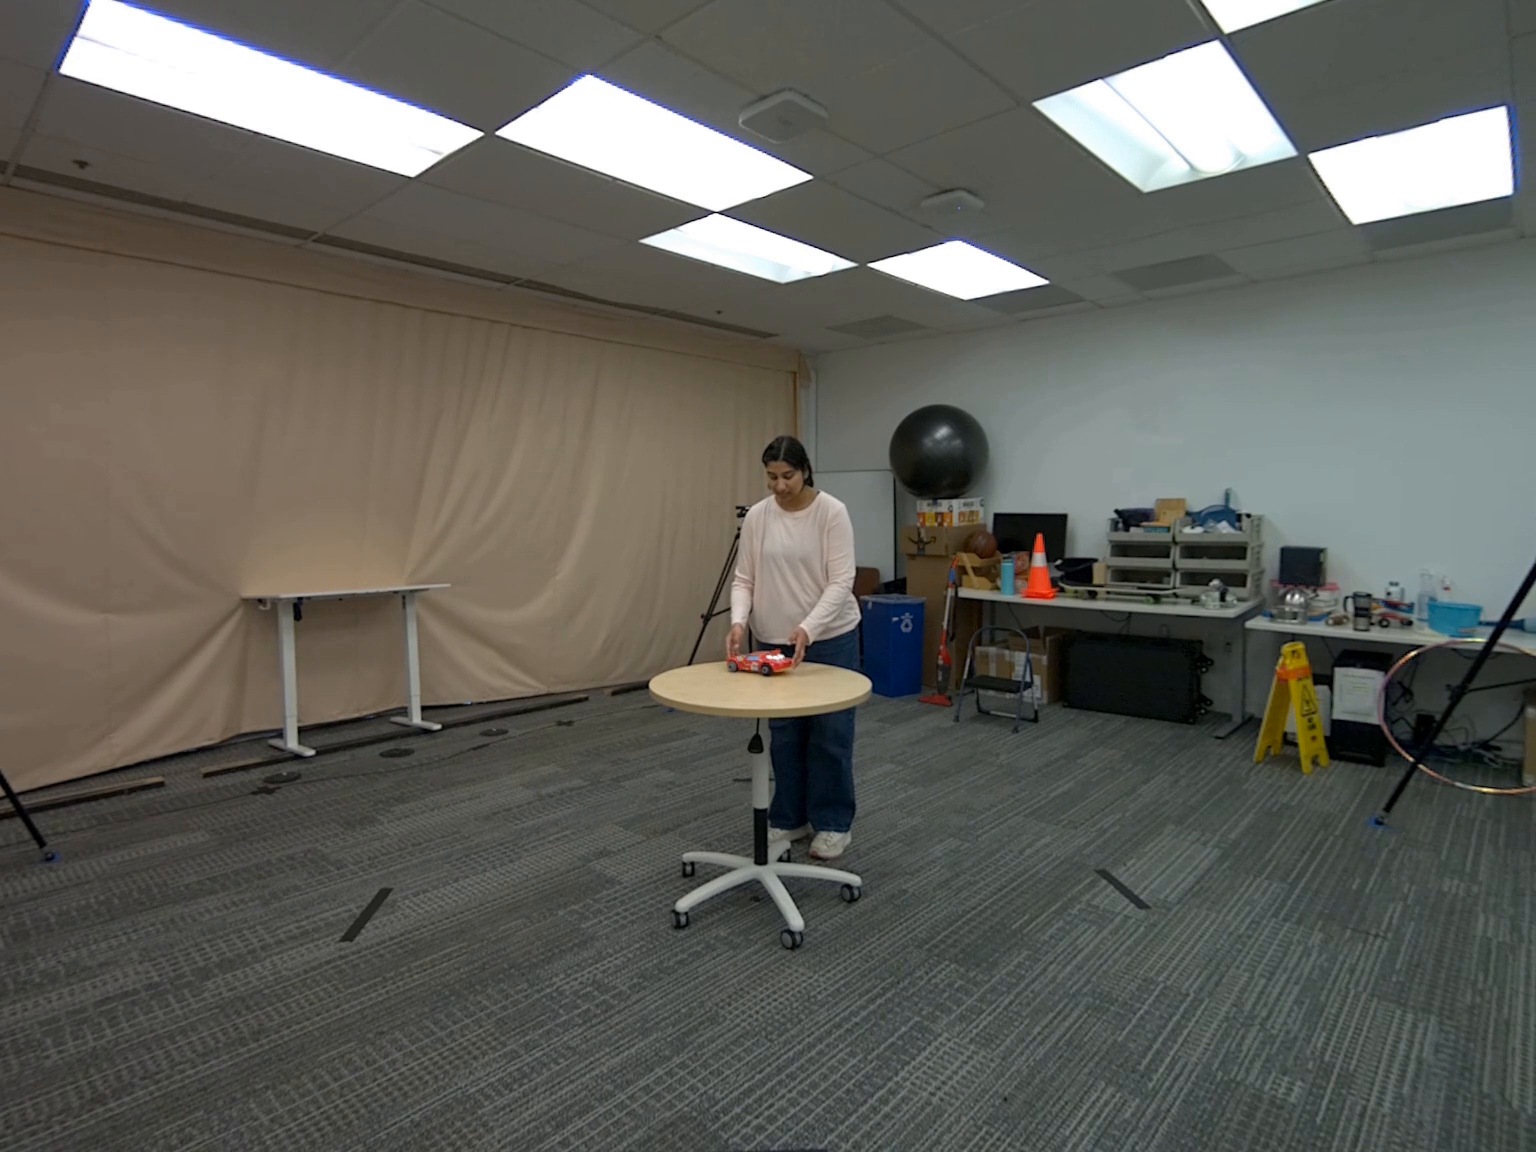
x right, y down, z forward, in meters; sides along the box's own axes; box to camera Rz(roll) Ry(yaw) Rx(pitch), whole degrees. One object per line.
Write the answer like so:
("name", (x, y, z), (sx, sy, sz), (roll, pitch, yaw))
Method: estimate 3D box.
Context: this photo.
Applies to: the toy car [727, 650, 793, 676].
("toy car", (-0.025, 0.320, 3.070), (0.261, 0.083, 0.127), (-10, 0, 33))
